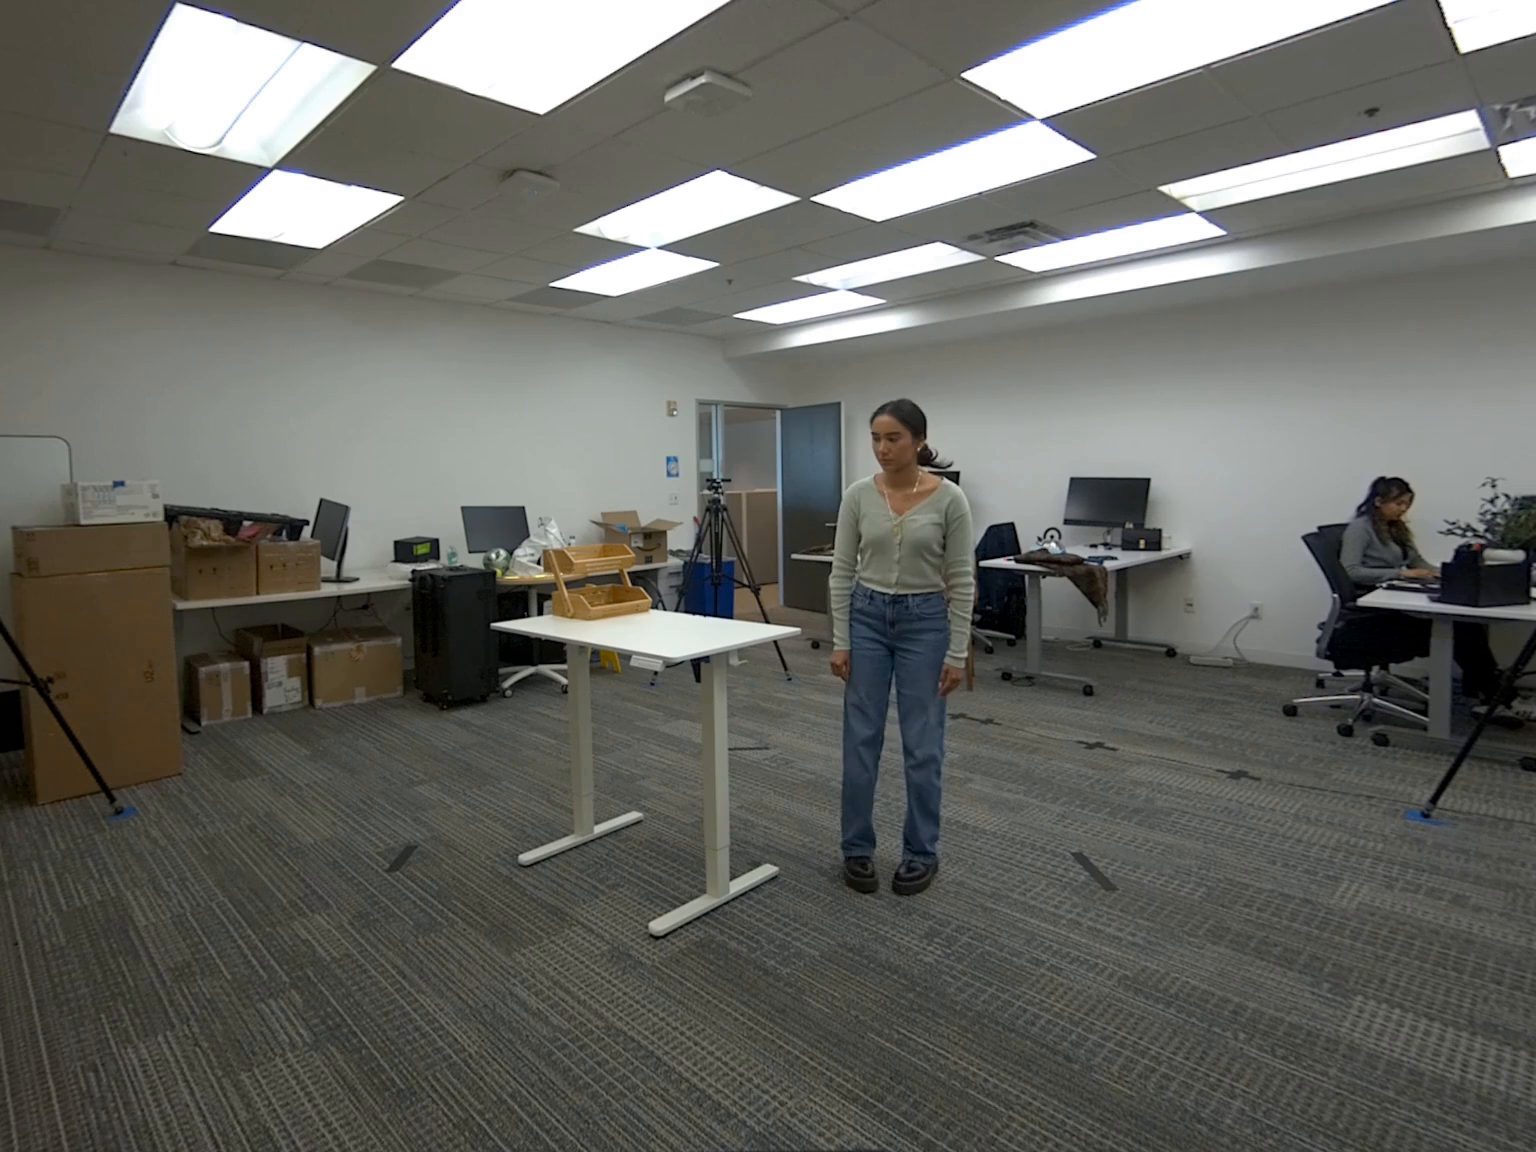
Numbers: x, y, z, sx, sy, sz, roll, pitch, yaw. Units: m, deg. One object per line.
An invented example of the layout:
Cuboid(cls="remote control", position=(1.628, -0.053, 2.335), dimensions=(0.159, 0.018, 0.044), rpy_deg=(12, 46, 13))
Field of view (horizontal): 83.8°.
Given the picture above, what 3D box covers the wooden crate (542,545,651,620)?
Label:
Cuboid(cls="wooden crate", position=(-0.670, 0.012, 3.368), dimensions=(0.311, 0.272, 0.316), rpy_deg=(2, 6, 43))
